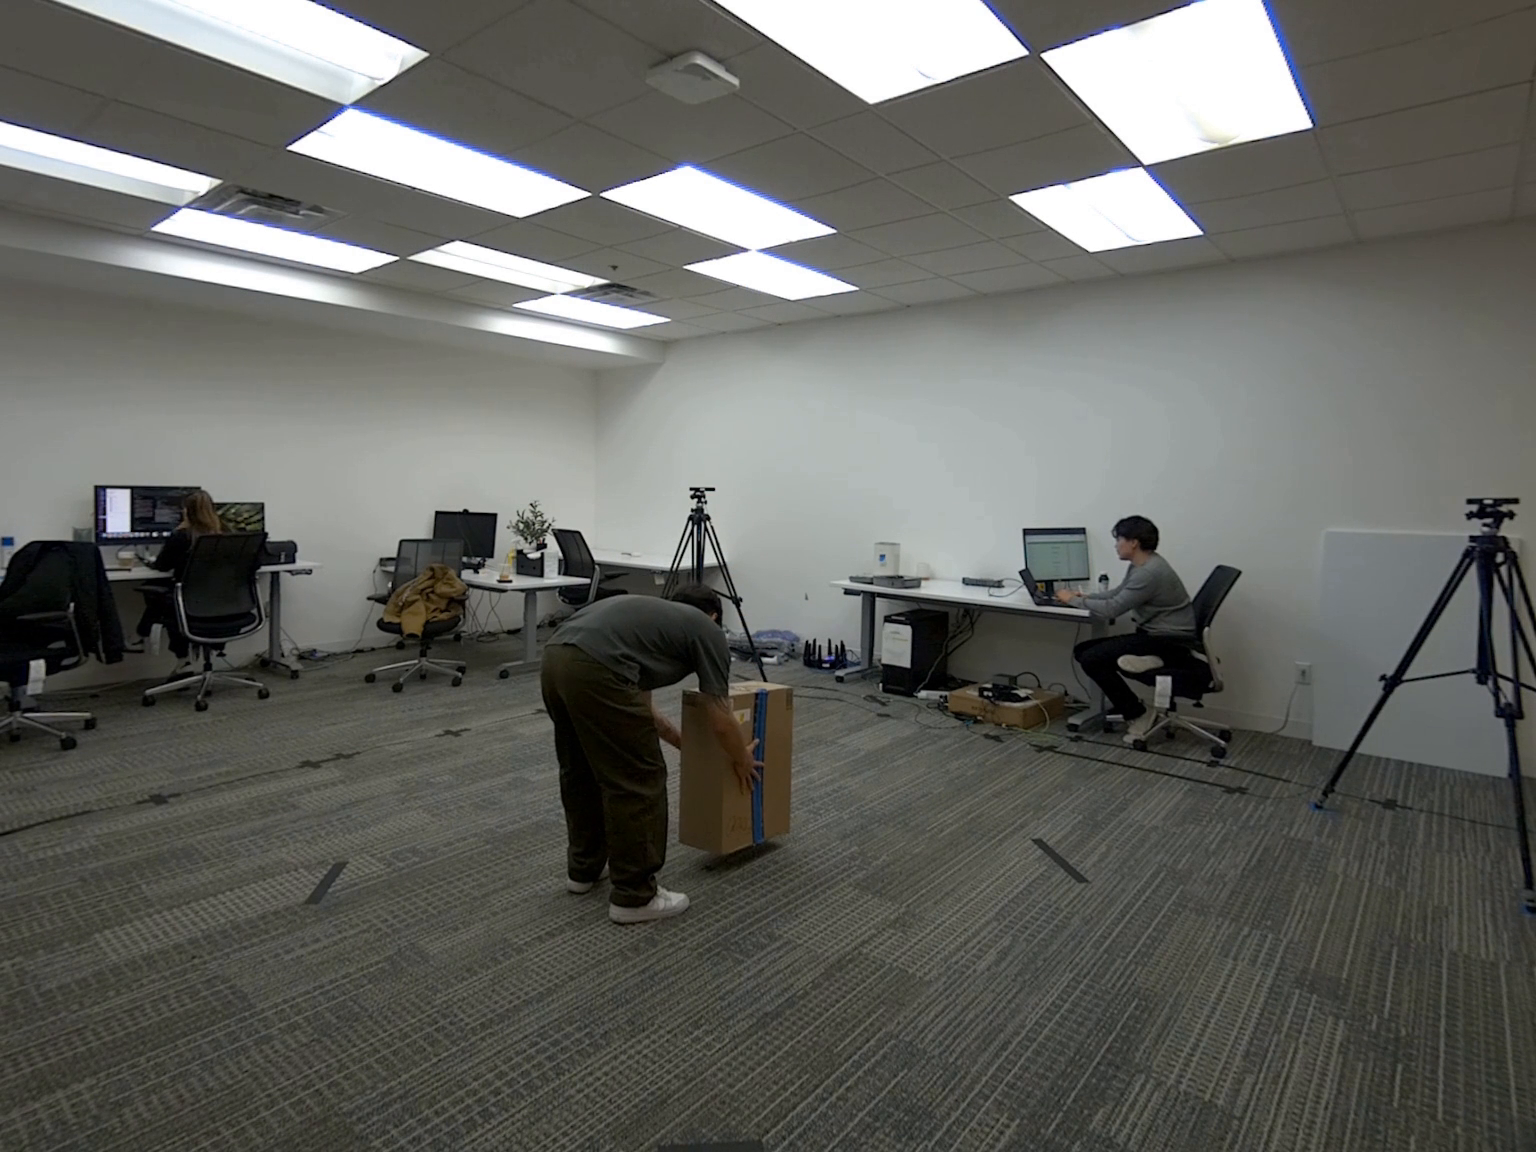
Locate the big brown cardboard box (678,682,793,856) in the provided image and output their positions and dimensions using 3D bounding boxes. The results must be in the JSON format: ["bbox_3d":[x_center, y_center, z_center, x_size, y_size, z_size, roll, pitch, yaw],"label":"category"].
[{"bbox_3d":[-0.126,0.708,3.244,0.241,0.589,0.404,1,0,40],"label":"big brown cardboard box"}]
